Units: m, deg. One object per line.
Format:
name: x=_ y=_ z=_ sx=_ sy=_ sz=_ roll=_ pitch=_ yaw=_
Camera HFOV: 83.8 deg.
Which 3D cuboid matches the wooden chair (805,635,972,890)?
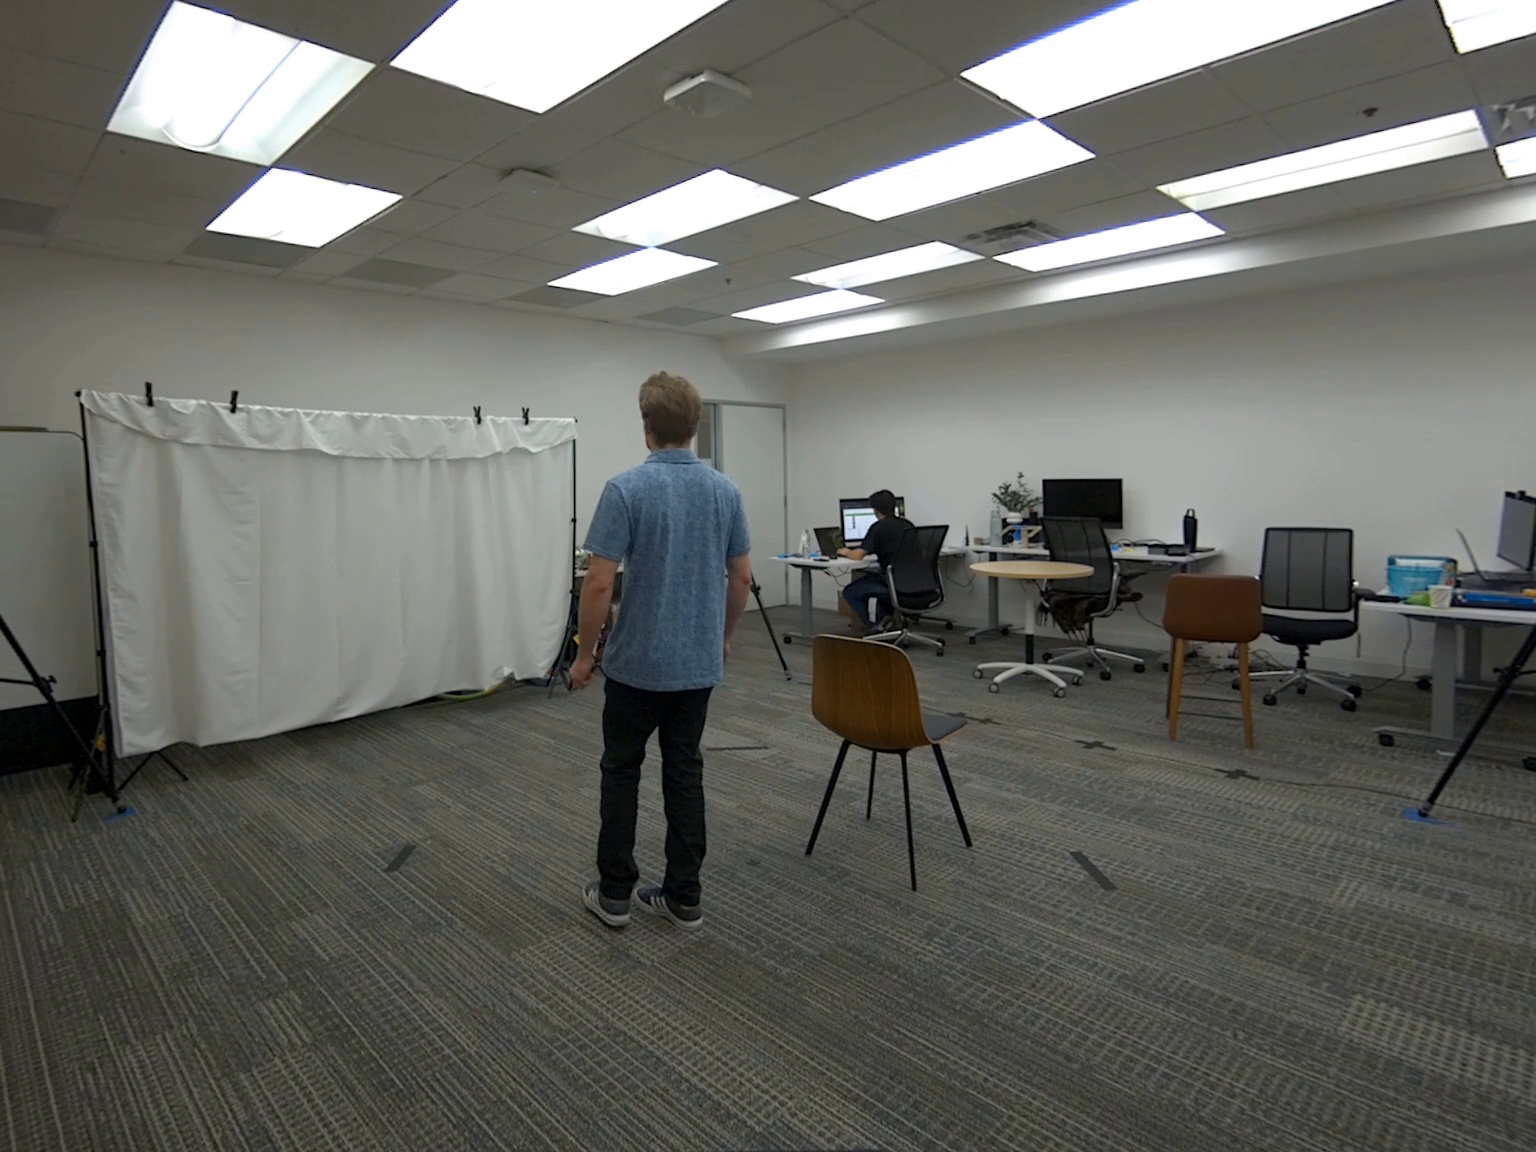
wooden chair: x=0.450 y=0.599 z=3.162 sx=0.492 sy=0.871 sz=0.512 roll=2 pitch=10 yaw=39
